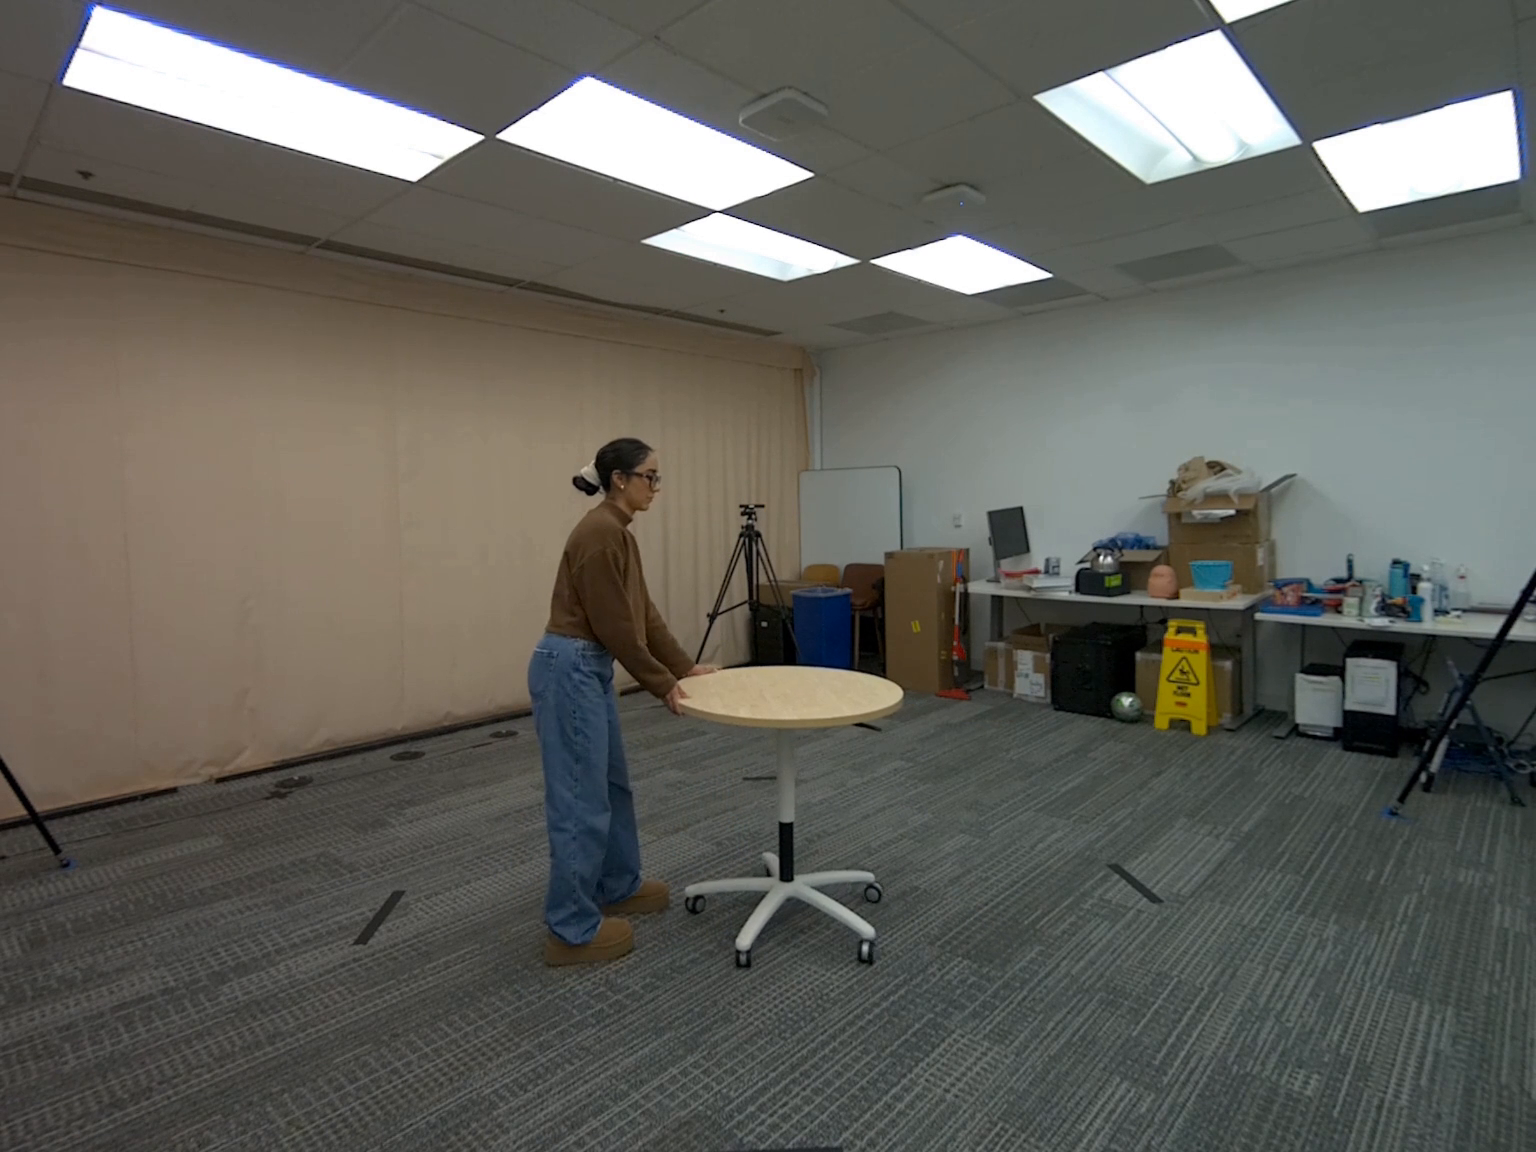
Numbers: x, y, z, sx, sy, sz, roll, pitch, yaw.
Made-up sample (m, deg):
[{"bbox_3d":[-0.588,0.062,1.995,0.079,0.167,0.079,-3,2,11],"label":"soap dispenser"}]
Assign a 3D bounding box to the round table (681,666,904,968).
[{"bbox_3d":[0.082,0.762,2.799,0.784,0.784,0.788,-2,4,-2],"label":"round table"}]
